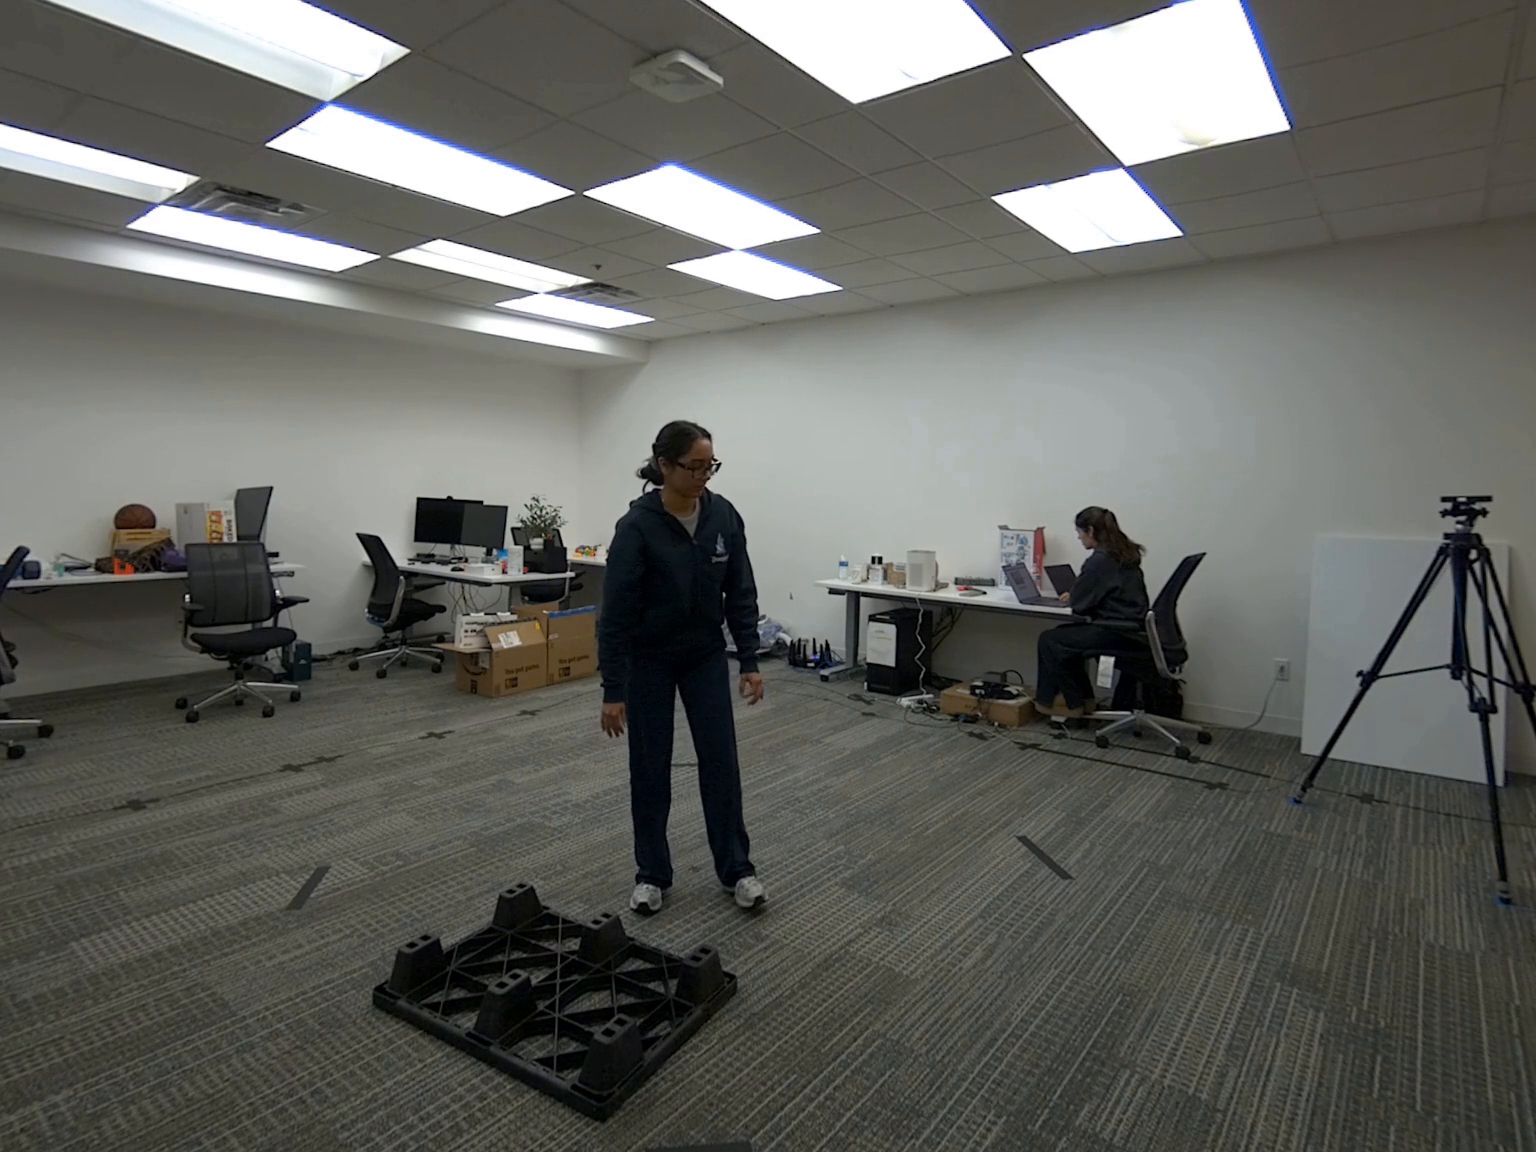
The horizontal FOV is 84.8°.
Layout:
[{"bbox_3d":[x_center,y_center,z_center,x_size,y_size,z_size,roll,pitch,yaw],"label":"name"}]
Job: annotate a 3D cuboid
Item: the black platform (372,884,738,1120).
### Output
[{"bbox_3d":[-0.575,1.077,2.314,0.829,0.143,0.590,4,7,30],"label":"black platform"}]
